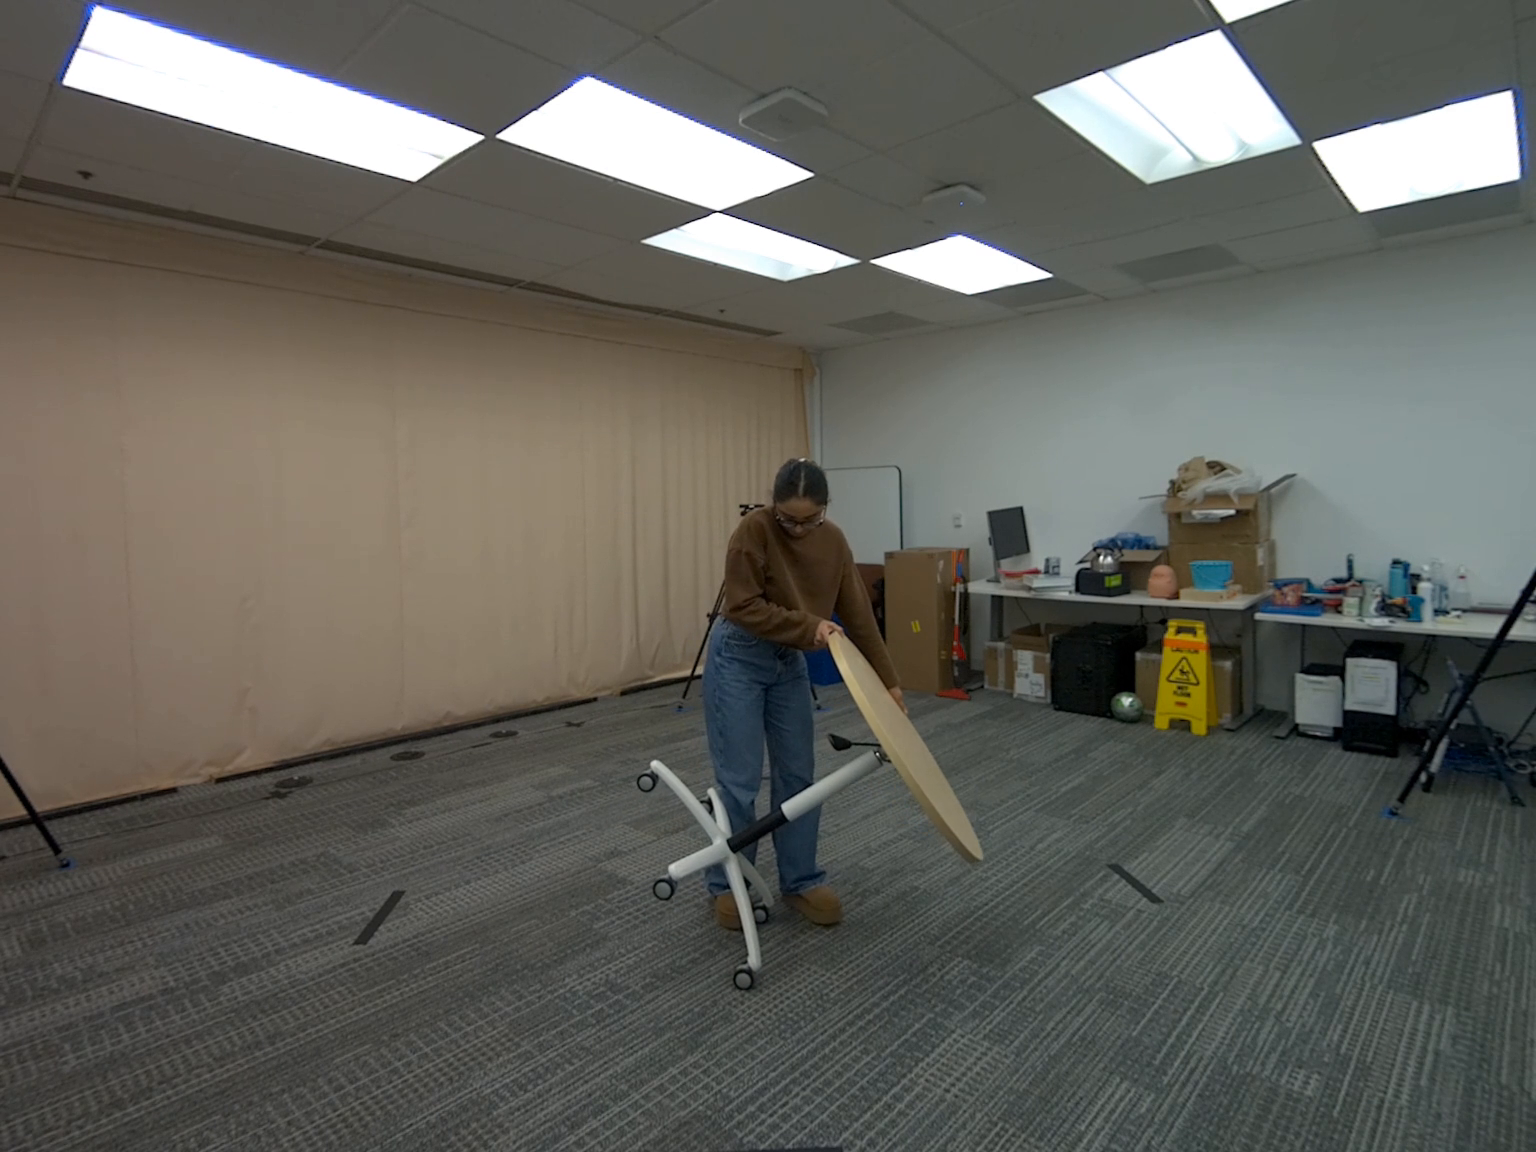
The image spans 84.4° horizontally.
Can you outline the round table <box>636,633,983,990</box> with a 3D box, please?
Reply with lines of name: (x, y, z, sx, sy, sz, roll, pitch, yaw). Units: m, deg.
round table: (0.096, 0.708, 2.567, 0.797, 0.766, 0.759, -35, -1, 8)
